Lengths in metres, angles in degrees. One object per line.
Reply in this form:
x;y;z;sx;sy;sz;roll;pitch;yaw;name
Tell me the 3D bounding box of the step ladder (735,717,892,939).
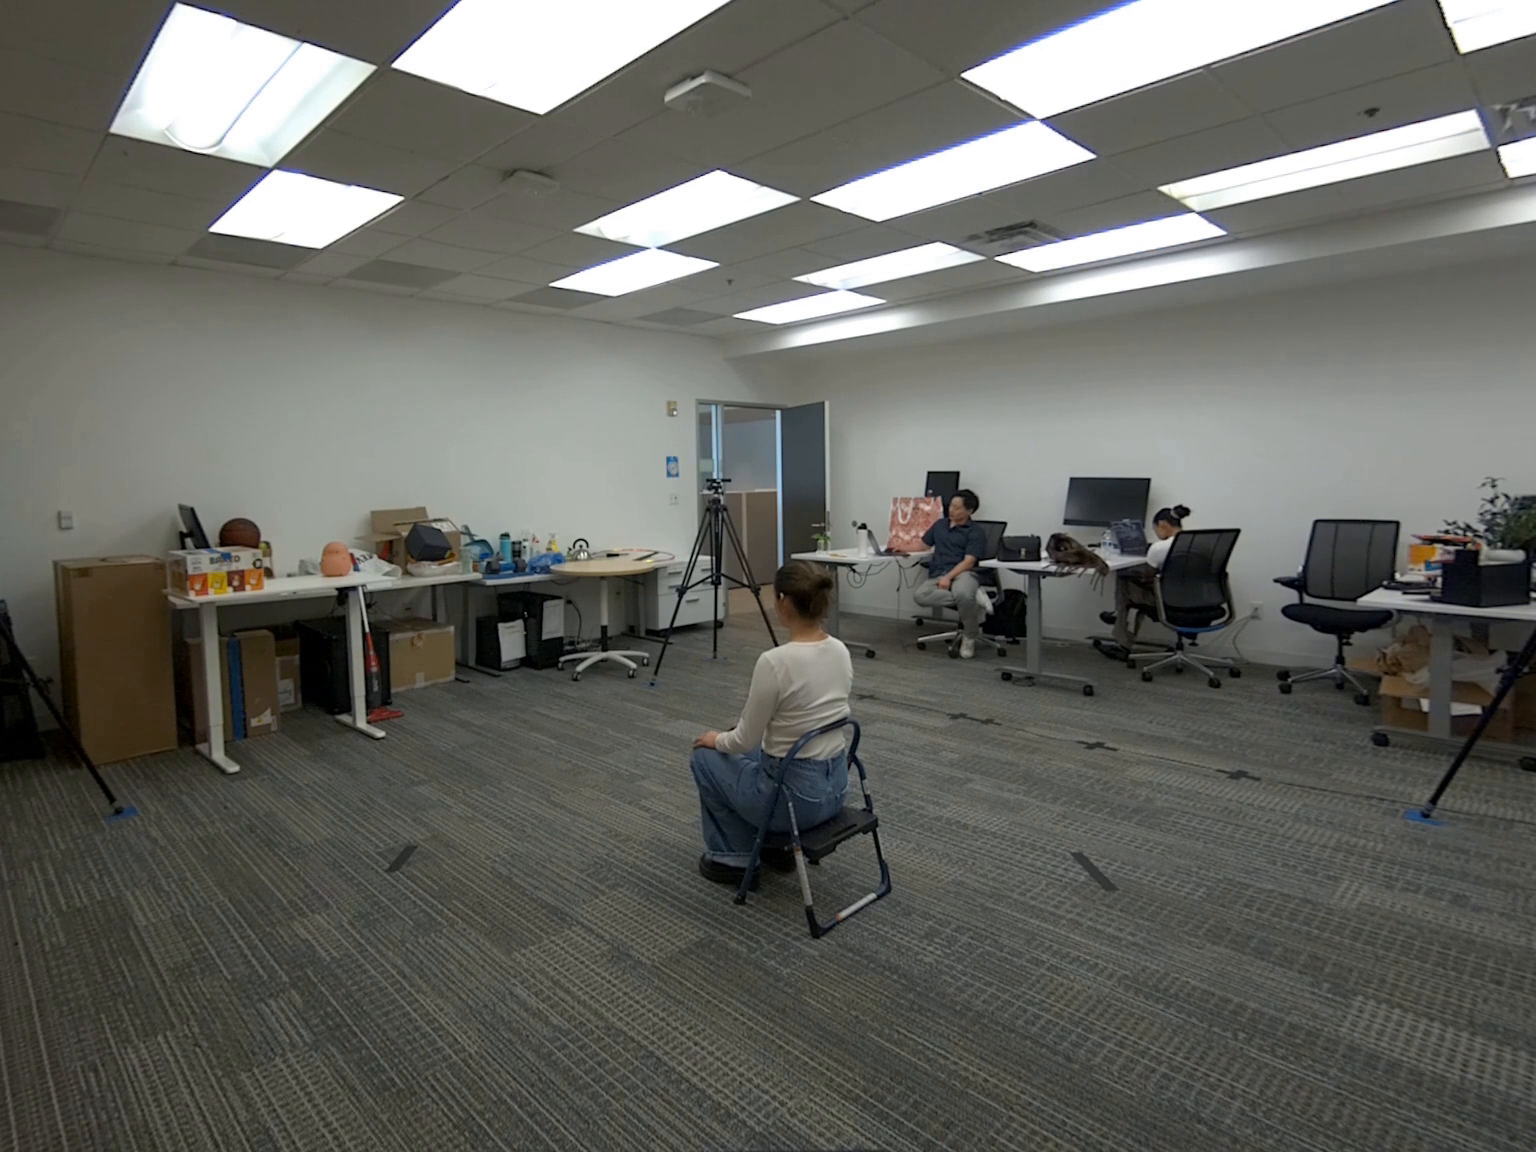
0.153;0.767;2.828;0.360;0.604;0.419;3;6;42;step ladder
